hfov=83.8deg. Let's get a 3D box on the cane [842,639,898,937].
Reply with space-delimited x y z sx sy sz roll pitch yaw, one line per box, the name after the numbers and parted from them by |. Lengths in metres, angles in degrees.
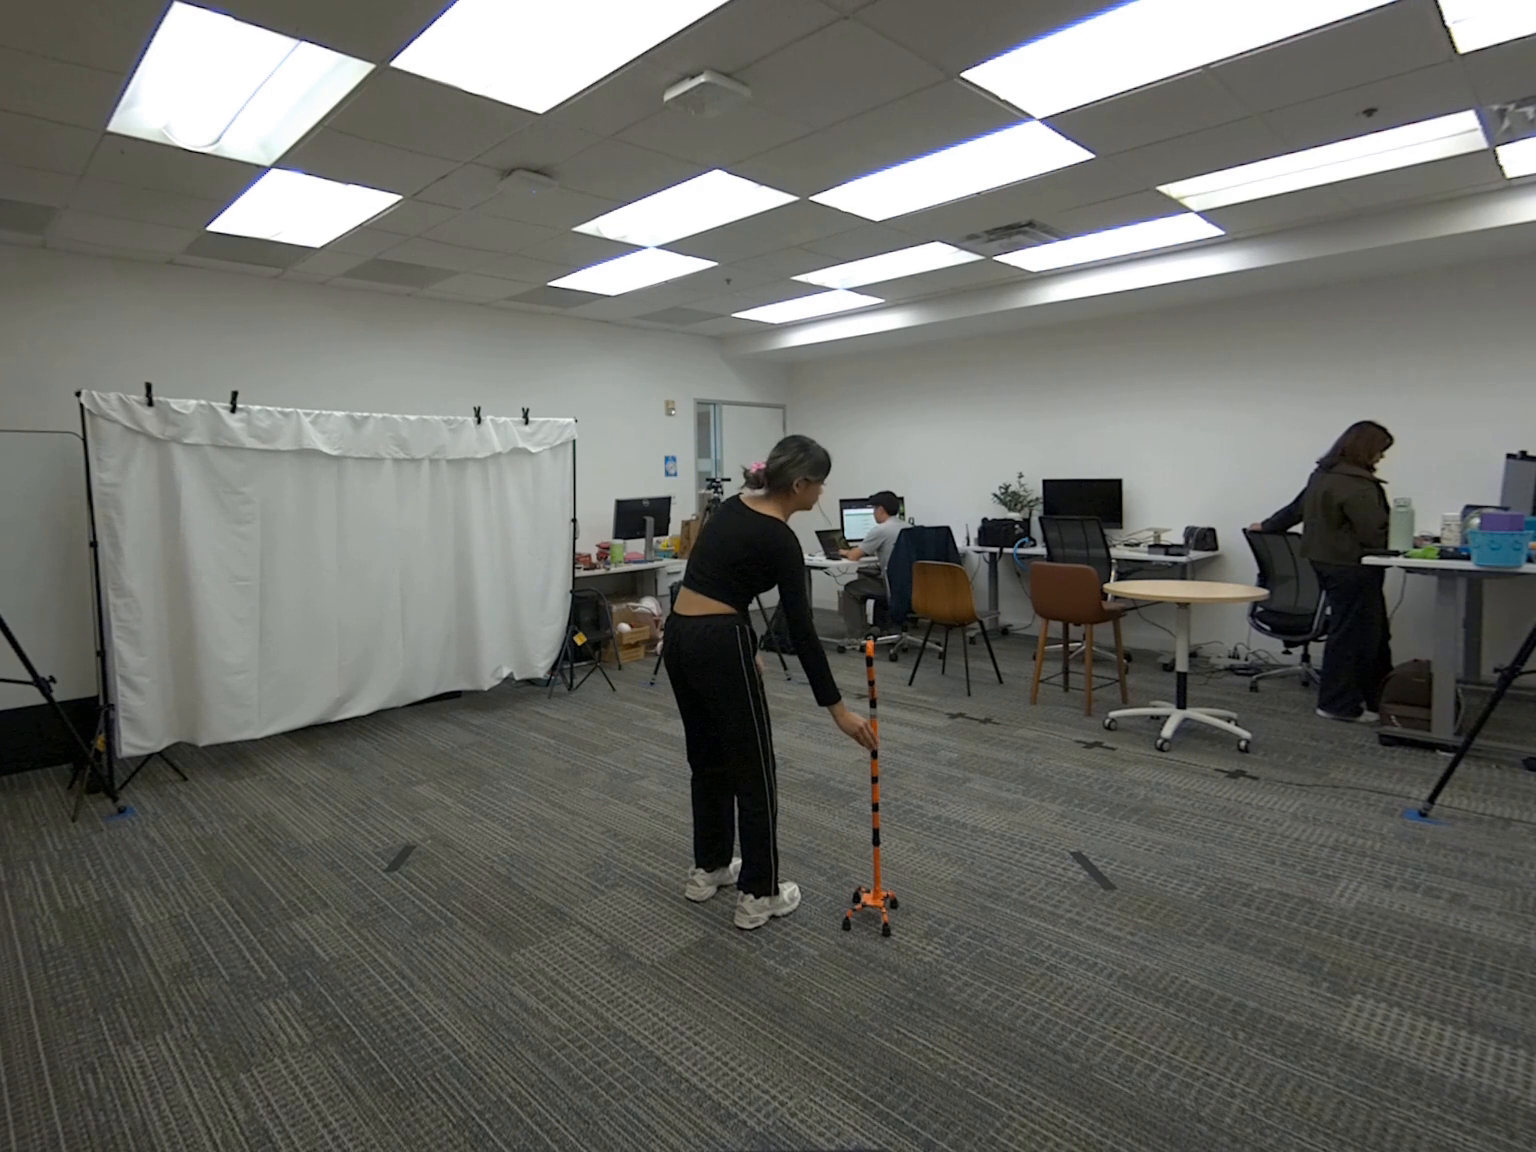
0.317 0.626 2.676 0.154 0.905 0.204 -1 4 17 | cane
